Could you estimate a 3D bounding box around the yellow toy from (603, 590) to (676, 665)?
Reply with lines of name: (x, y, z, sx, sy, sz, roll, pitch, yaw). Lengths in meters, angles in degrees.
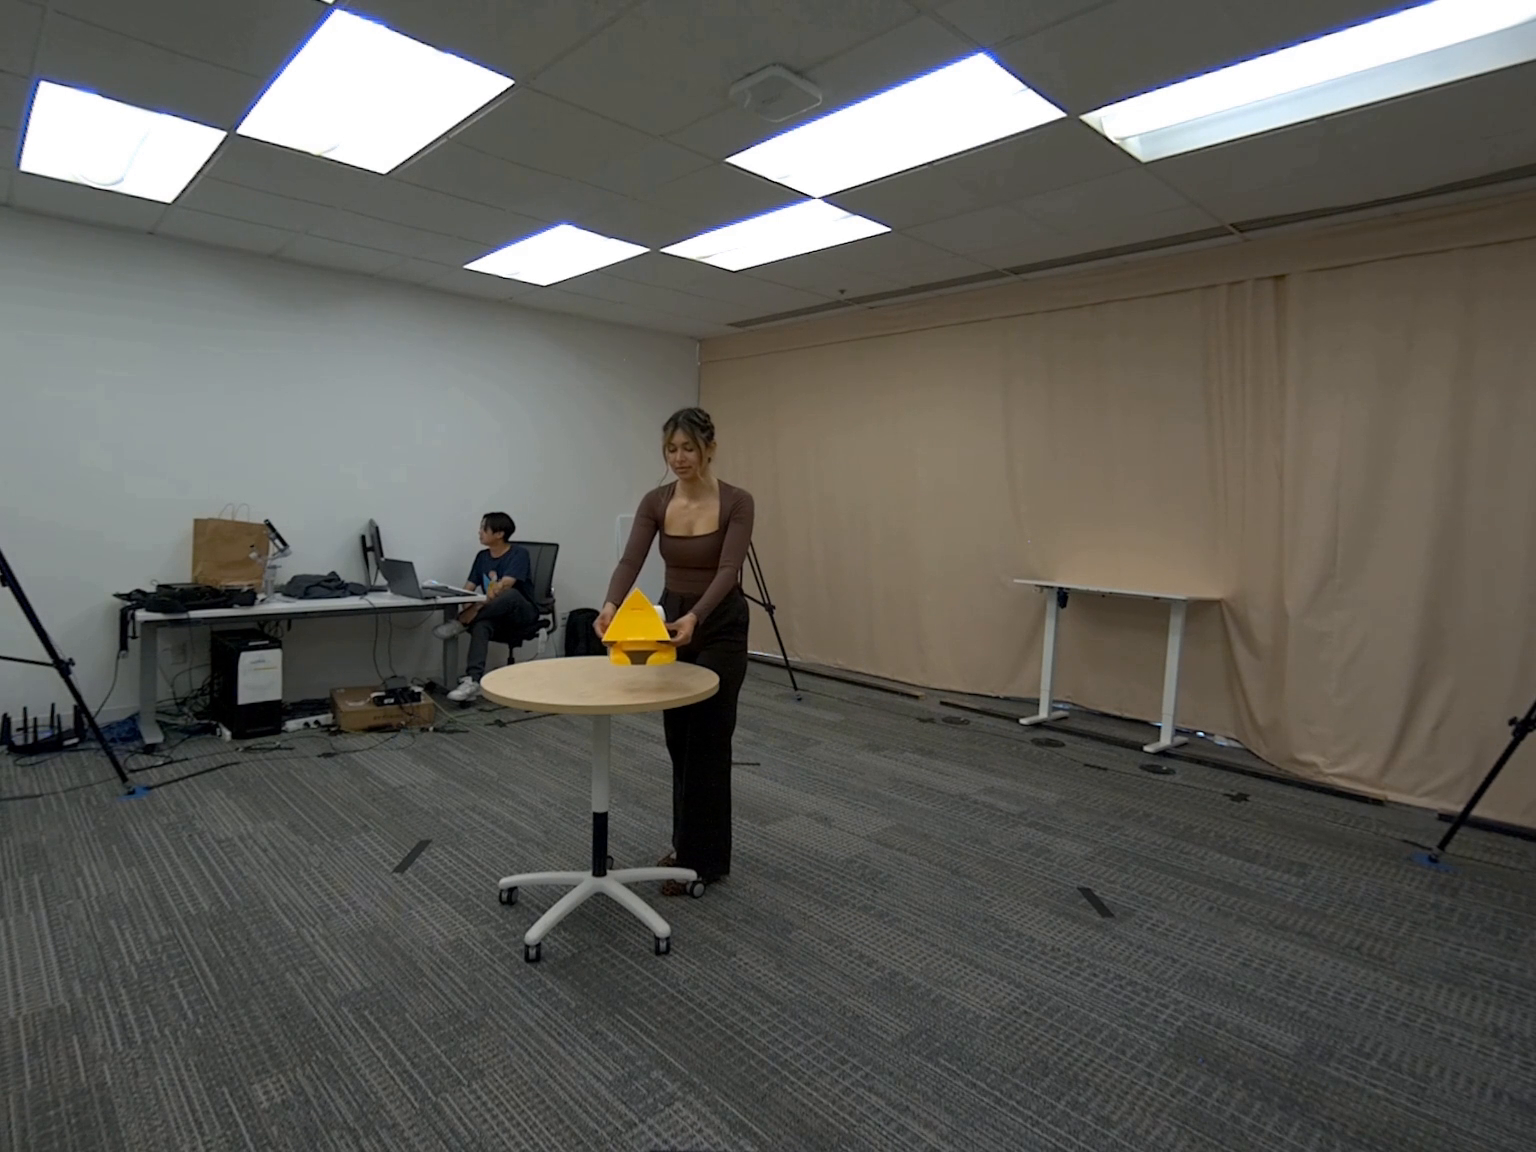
yellow toy: (-0.393, 0.145, 2.551, 0.206, 0.230, 0.193, -1, 6, 5)
